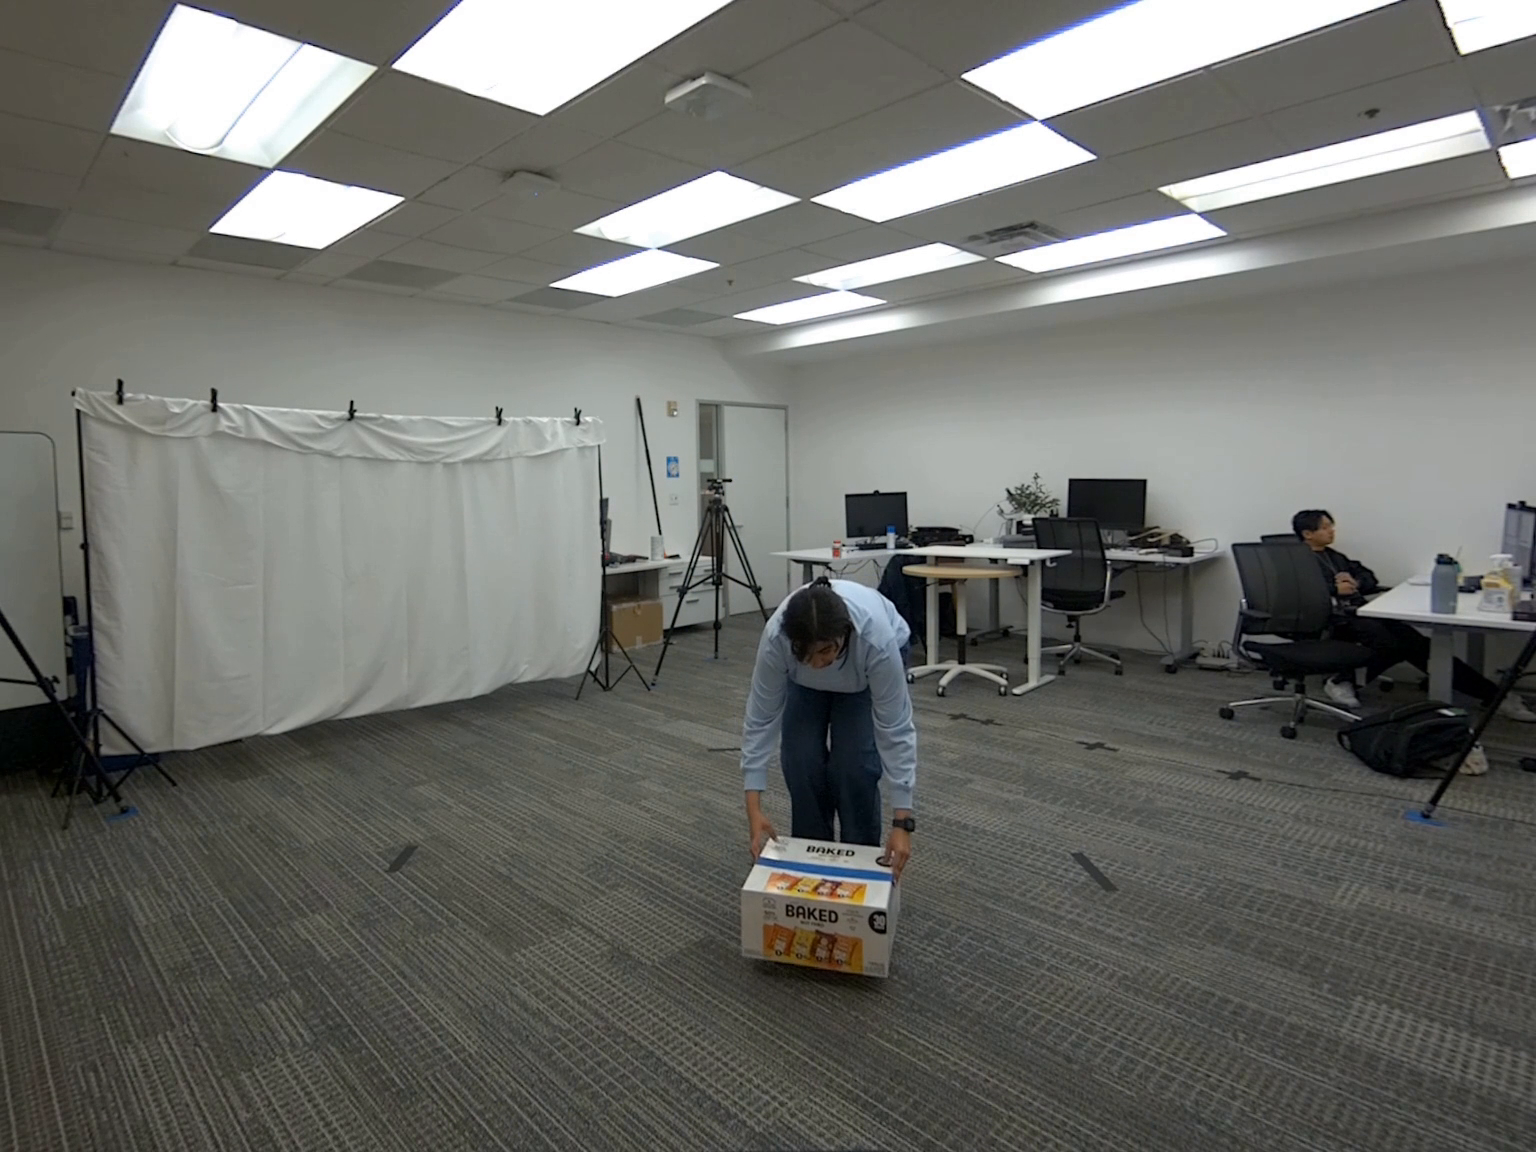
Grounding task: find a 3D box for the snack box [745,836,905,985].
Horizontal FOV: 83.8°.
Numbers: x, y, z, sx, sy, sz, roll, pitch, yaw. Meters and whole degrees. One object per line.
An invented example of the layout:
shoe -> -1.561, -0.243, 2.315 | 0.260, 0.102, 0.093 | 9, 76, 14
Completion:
snack box -> 0.176, 0.953, 2.487 | 0.411, 0.204, 0.337 | 1, 8, 15
